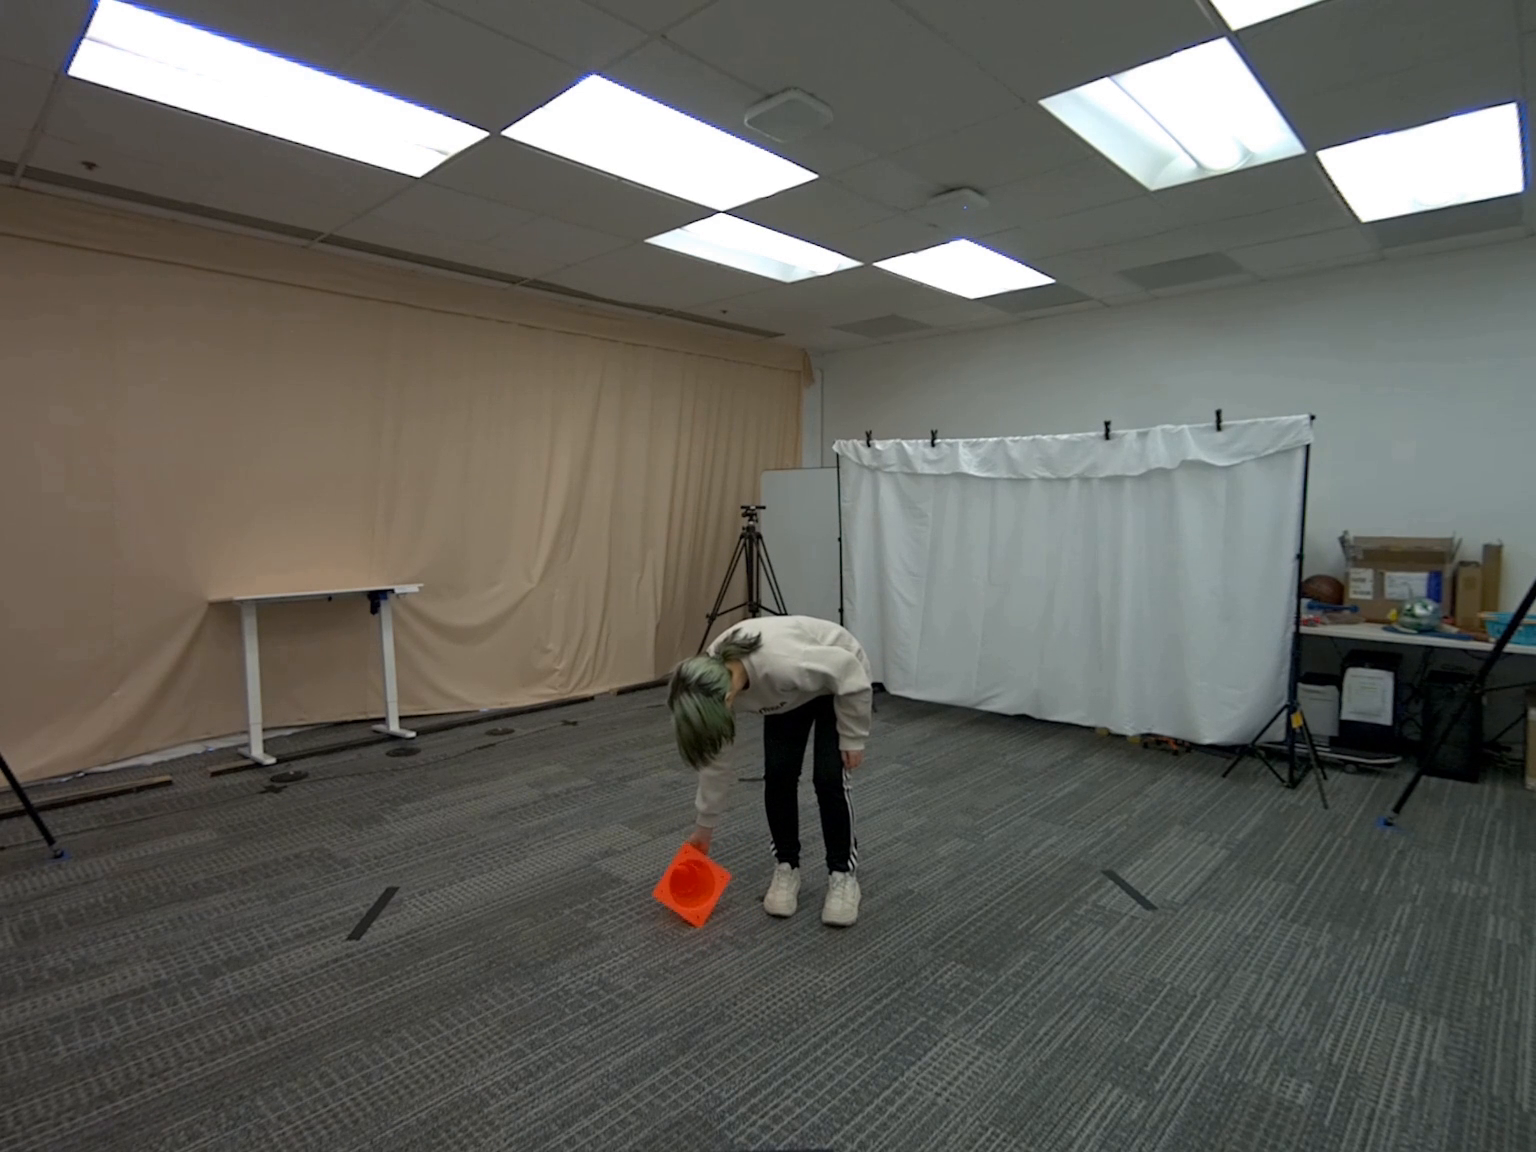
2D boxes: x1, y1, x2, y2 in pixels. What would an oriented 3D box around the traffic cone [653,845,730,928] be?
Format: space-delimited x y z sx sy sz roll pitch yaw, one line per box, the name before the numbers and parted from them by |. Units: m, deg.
traffic cone | -0.295 1.087 2.986 0.204 0.204 0.383 20 -18 -4
